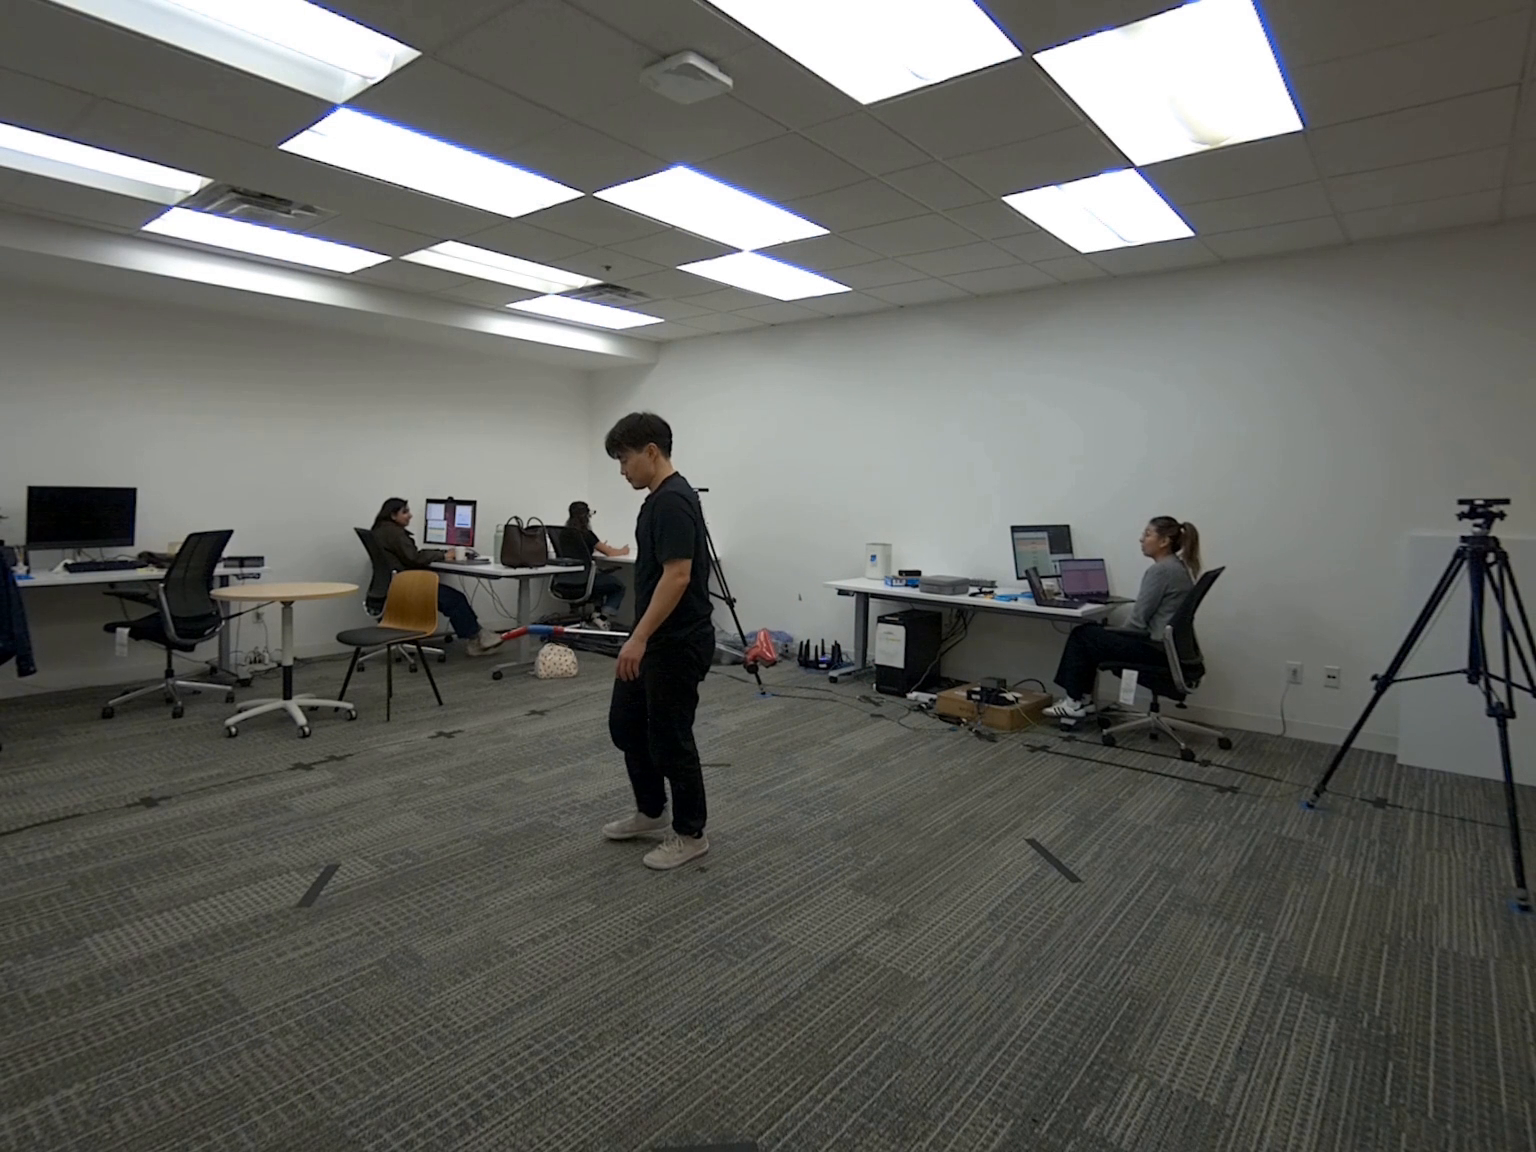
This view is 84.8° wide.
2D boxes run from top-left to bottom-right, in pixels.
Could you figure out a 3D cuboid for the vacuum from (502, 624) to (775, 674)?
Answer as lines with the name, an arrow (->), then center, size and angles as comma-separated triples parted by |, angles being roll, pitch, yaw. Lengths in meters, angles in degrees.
vacuum -> -0.552, 0.286, 3.455 | 1.036, 0.141, 0.260 | 5, 24, -11
